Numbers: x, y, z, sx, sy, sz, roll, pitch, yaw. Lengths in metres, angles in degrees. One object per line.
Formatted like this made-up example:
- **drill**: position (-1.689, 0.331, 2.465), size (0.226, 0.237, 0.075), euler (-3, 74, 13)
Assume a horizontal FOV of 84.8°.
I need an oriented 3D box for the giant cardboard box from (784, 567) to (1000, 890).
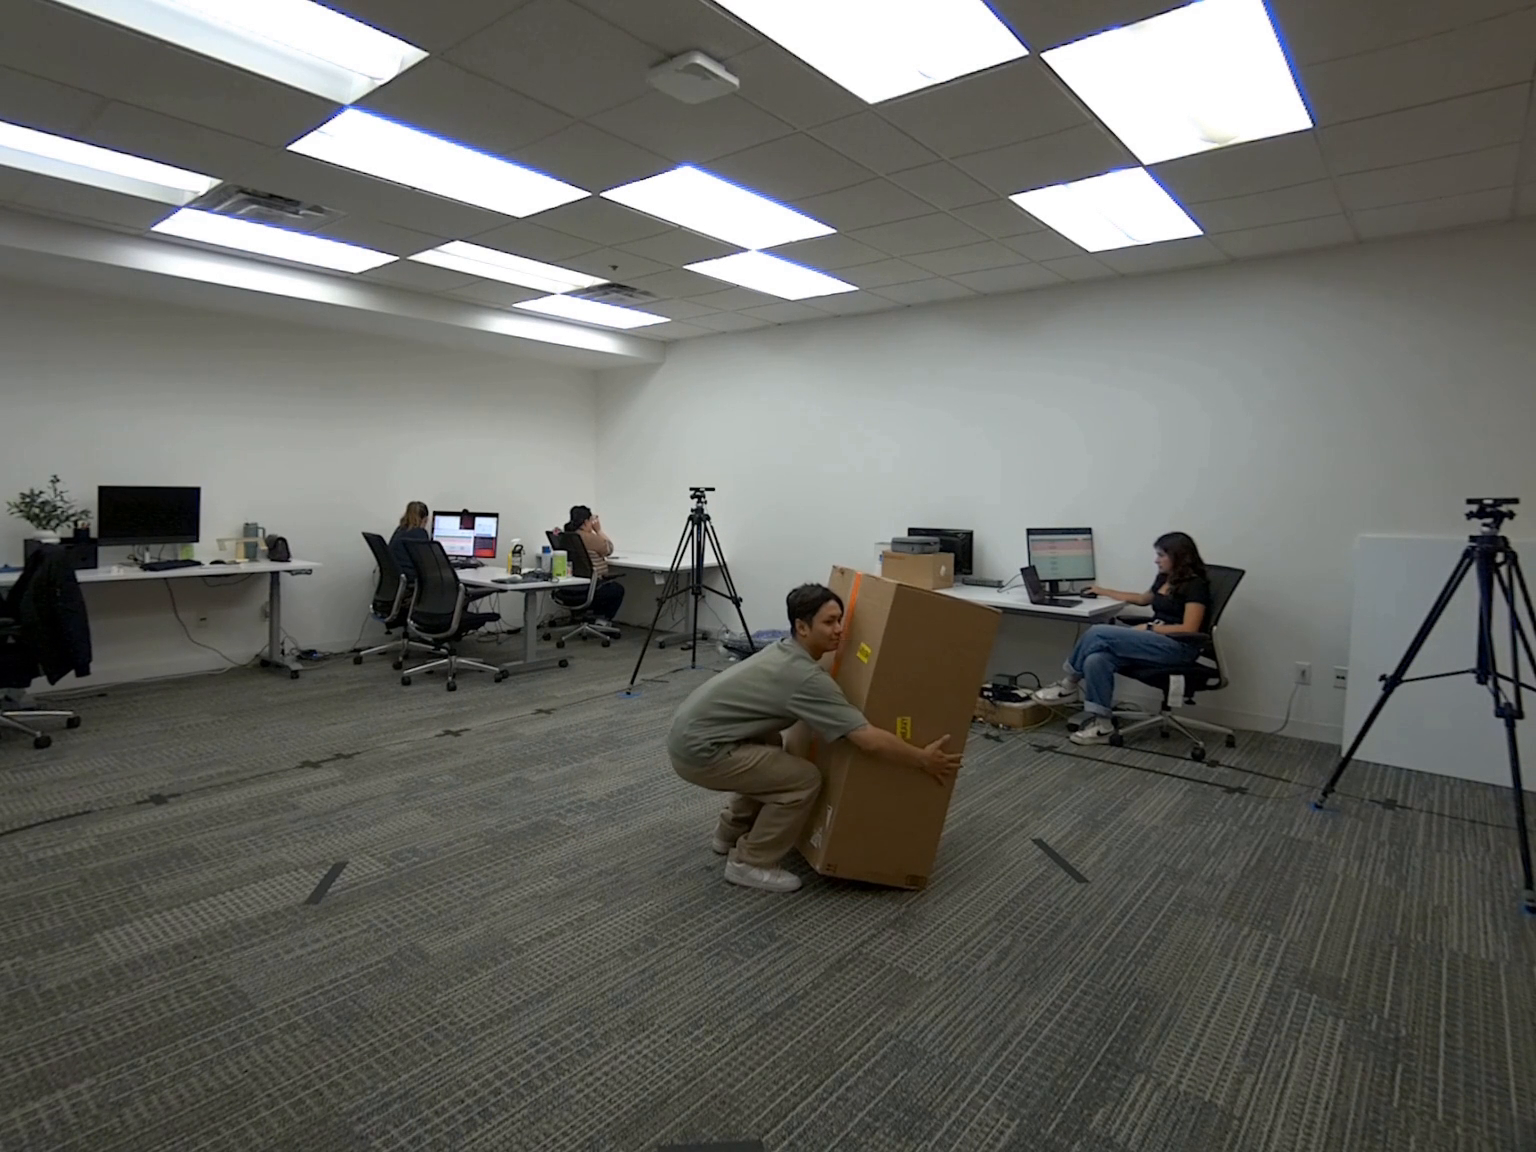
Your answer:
- **giant cardboard box**: position (0.416, 0.526, 3.192), size (0.418, 1.025, 0.590), euler (14, 1, -18)
